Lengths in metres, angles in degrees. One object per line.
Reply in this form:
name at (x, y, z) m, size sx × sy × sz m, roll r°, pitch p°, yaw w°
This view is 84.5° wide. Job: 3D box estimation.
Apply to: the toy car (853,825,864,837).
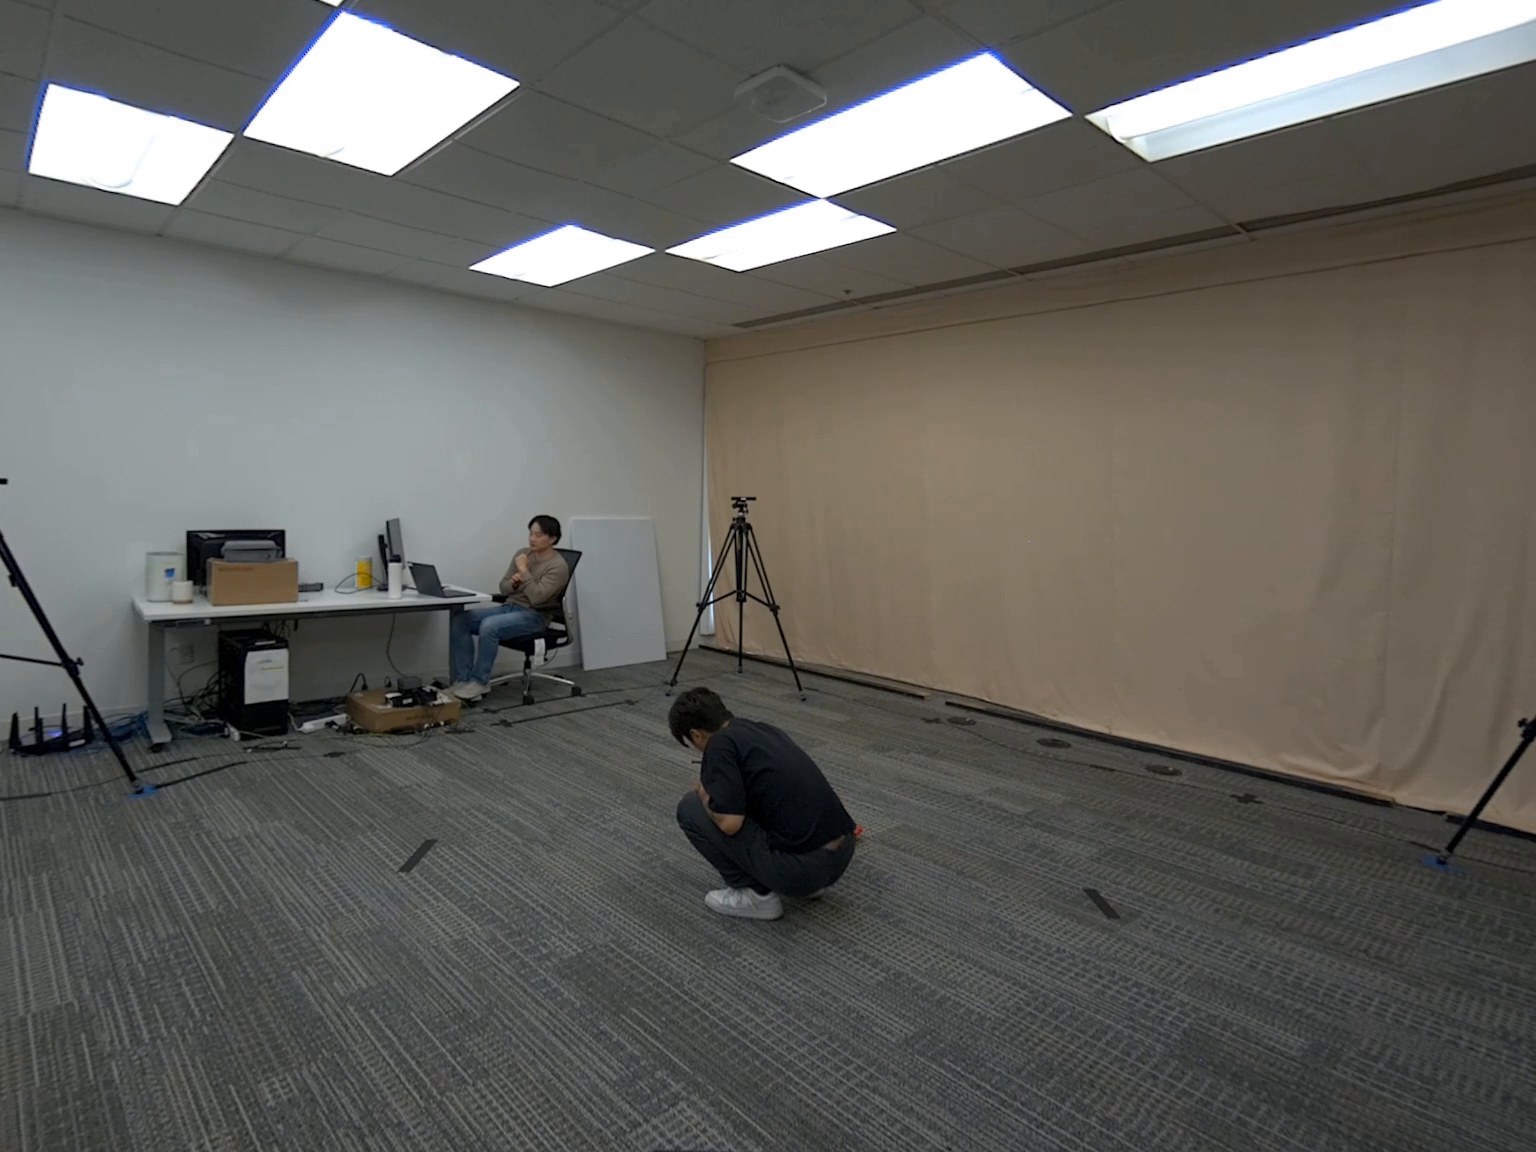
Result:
toy car at (0.275, 1.055, 3.494) m, size 0.259 × 0.083 × 0.127 m, roll -9°, pitch -3°, yaw 35°
